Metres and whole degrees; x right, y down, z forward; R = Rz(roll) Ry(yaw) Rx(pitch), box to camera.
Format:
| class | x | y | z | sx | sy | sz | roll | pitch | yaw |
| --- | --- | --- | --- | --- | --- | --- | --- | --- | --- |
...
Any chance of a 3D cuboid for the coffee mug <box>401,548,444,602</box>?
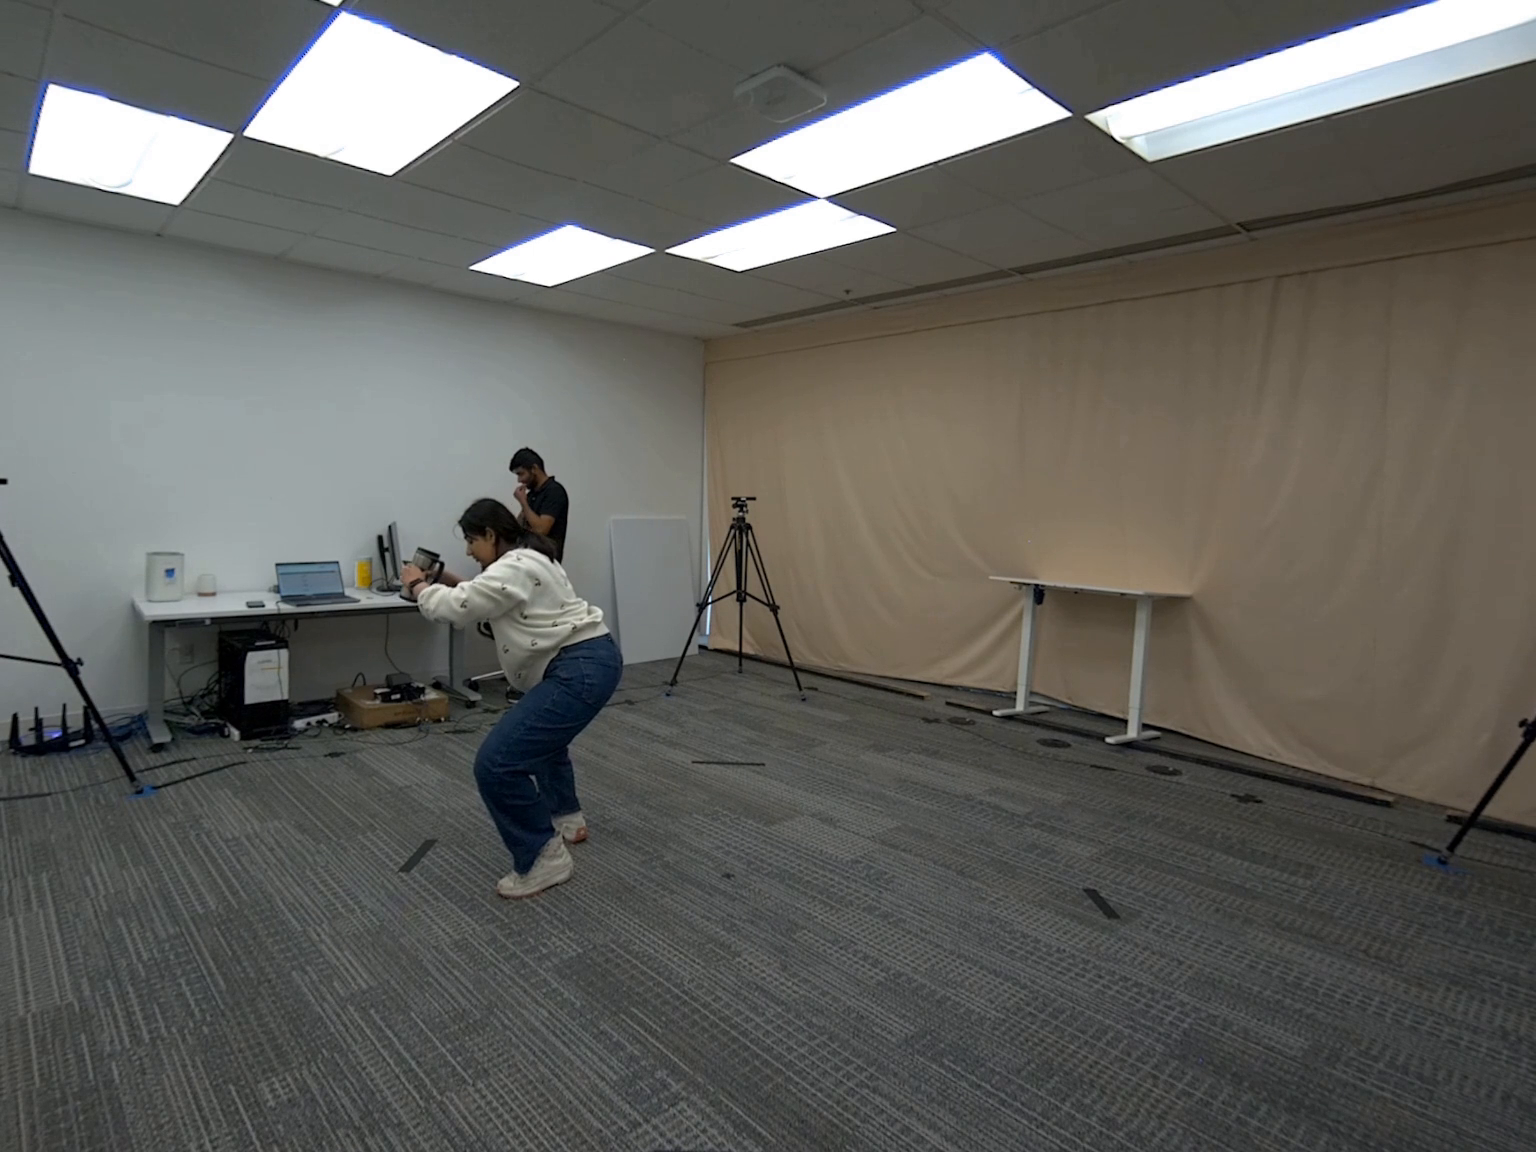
| class | x | y | z | sx | sy | sz | roll | pitch | yaw |
| --- | --- | --- | --- | --- | --- | --- | --- | --- | --- |
| coffee mug | -1.312 | 0.000 | 3.161 | 0.125 | 0.203 | 0.085 | 21 | -3 | 38 |
